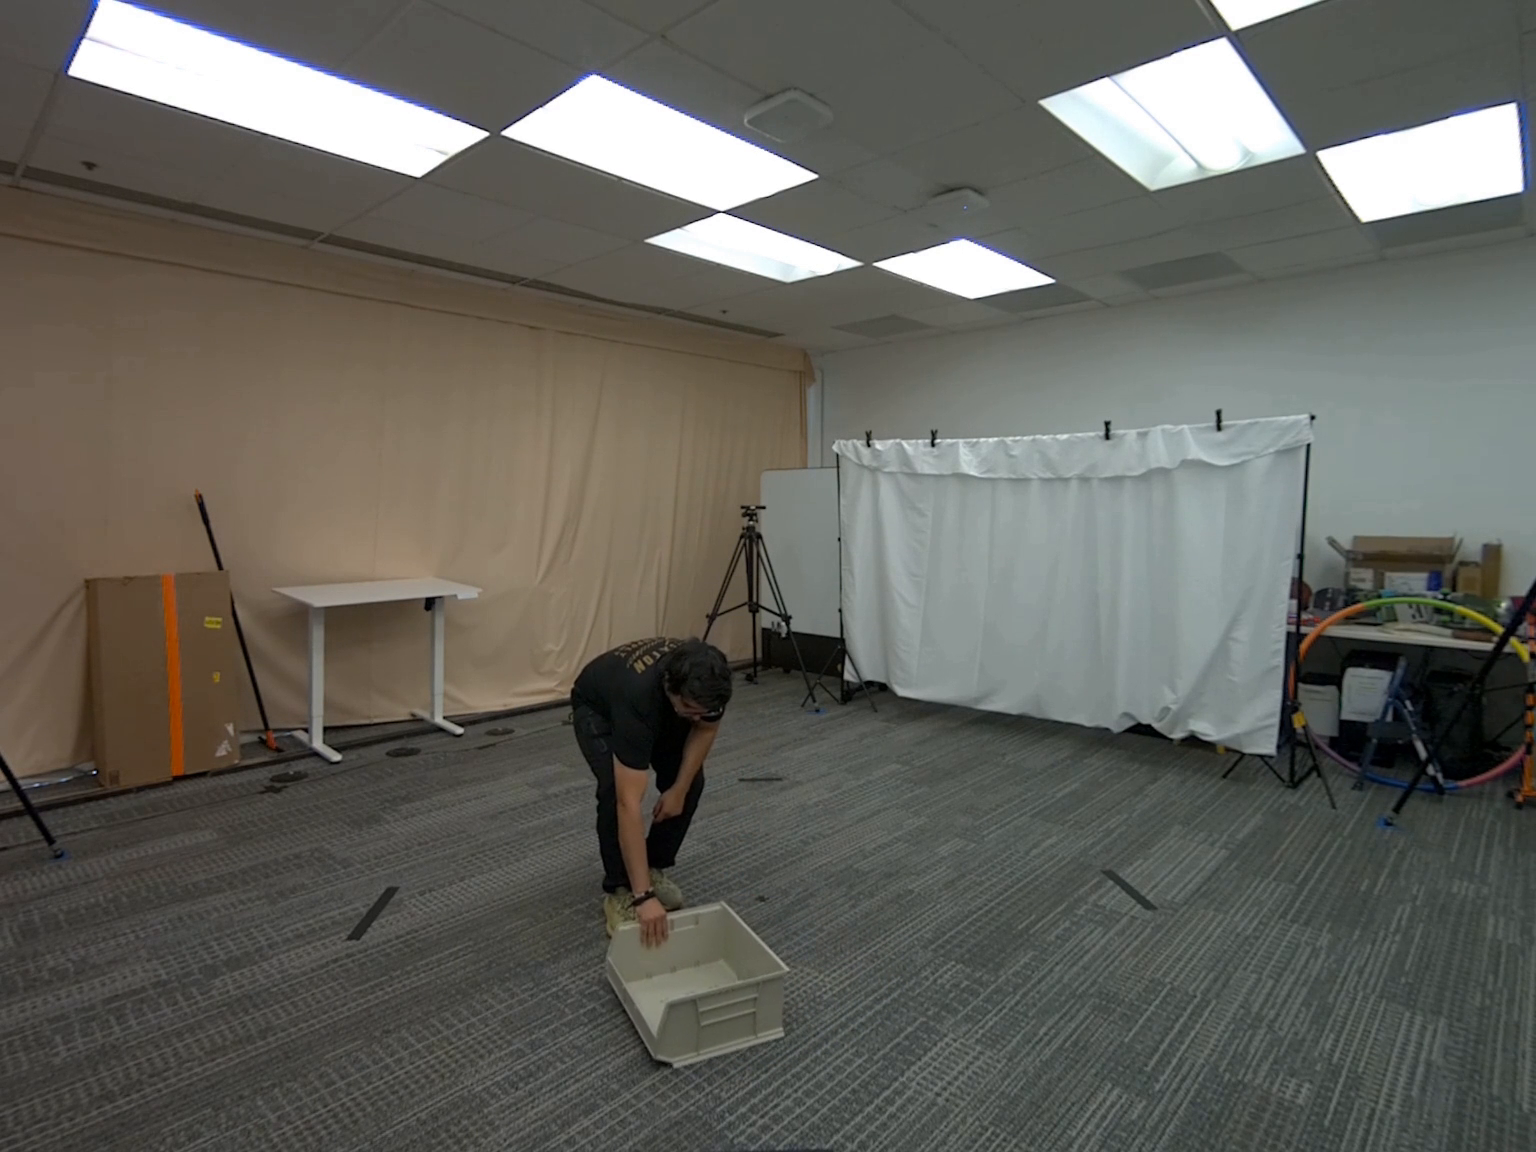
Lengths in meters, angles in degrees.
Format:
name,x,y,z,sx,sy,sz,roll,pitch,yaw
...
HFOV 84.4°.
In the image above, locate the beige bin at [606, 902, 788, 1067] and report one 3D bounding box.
name,x,y,z,sx,sy,sz,roll,pitch,yaw
beige bin,-0.202,1.108,2.319,0.368,0.189,0.434,-1,3,-27
